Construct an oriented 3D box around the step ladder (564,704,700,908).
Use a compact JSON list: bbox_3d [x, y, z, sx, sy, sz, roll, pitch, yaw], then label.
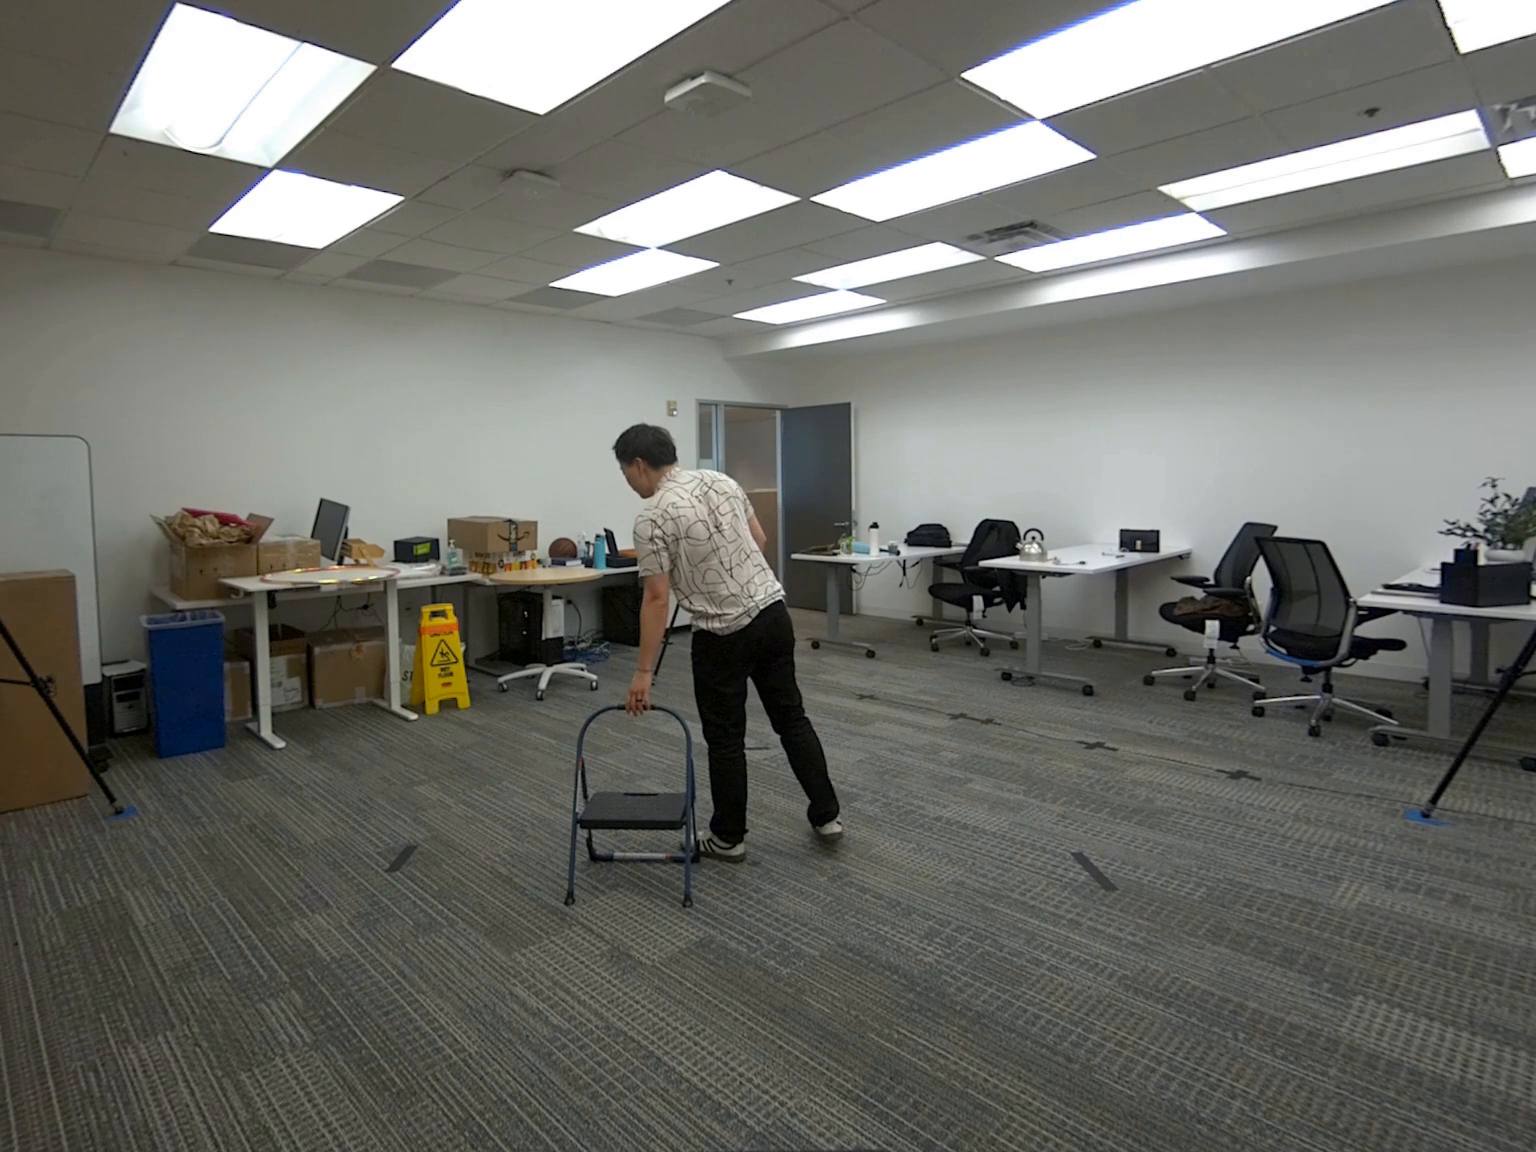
[{"bbox_3d":[-0.465,0.769,2.965,0.432,0.604,0.350,-2,4,2],"label":"step ladder"}]
